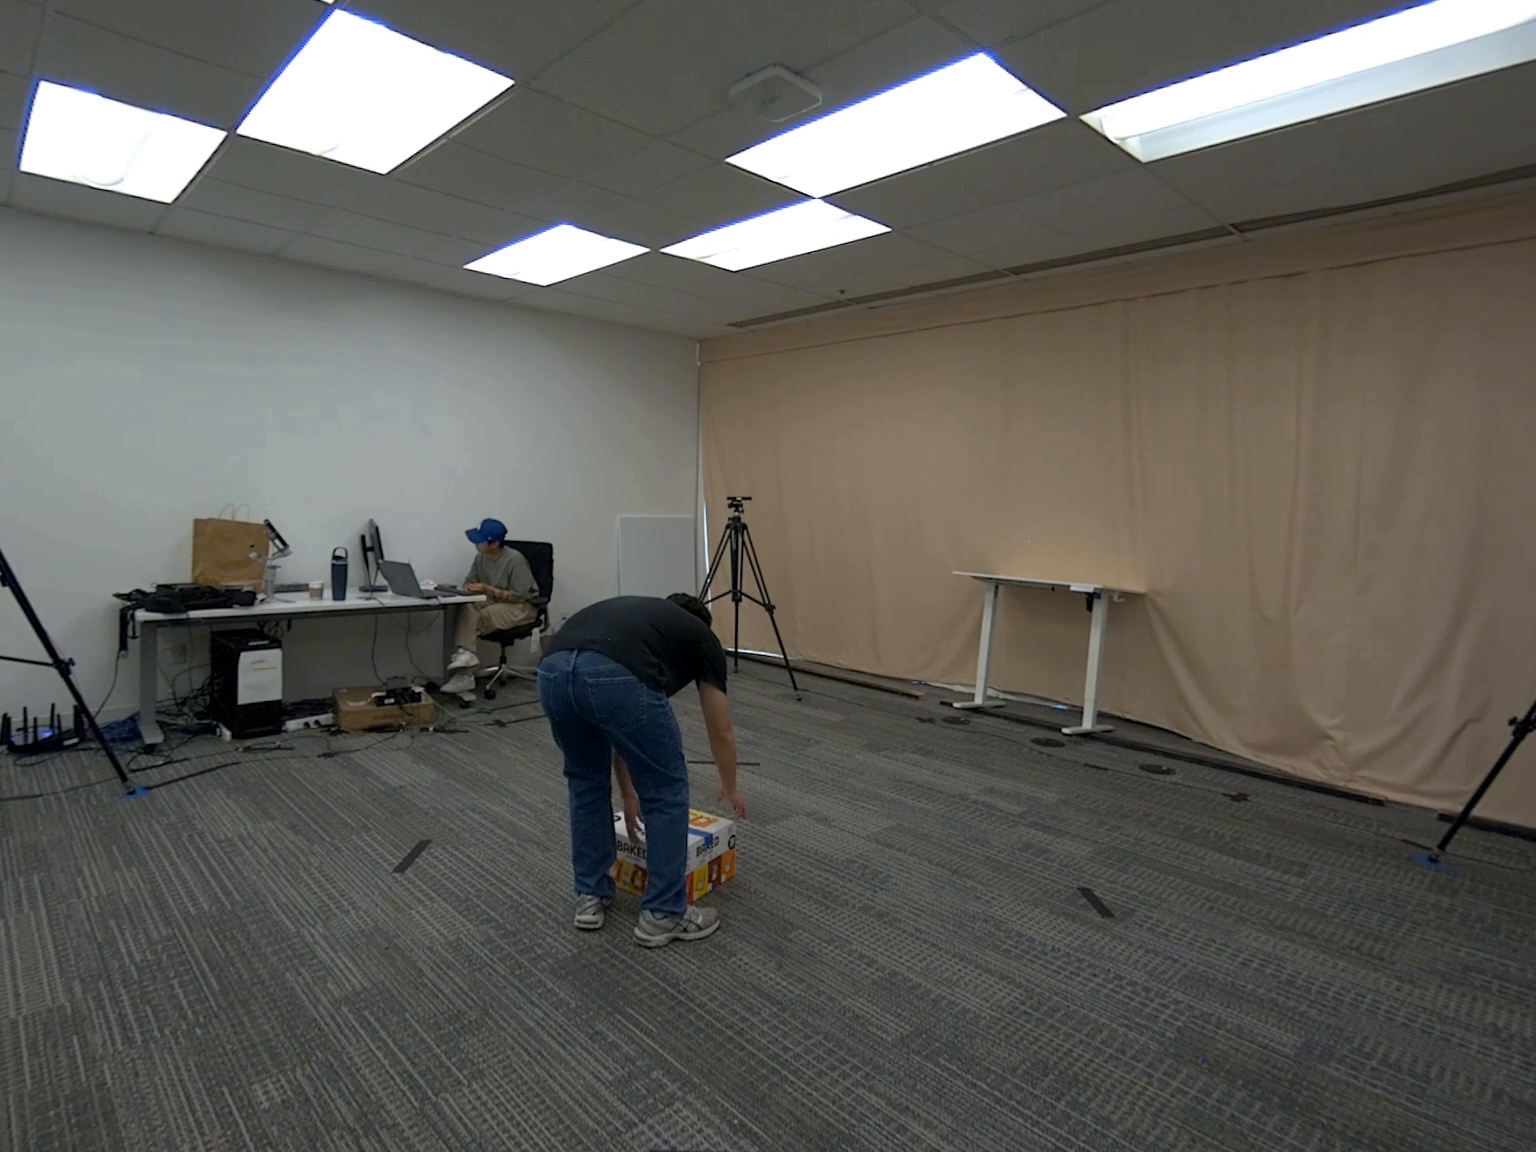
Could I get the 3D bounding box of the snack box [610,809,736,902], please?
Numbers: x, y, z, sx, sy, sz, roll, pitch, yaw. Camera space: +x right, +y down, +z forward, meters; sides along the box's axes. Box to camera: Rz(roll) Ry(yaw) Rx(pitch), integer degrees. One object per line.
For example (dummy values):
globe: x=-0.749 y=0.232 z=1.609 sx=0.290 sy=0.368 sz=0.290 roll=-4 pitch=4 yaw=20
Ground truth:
snack box: x=-0.385 y=1.004 z=3.070 sx=0.415 sy=0.205 sz=0.333 roll=5 pitch=6 yaw=33
